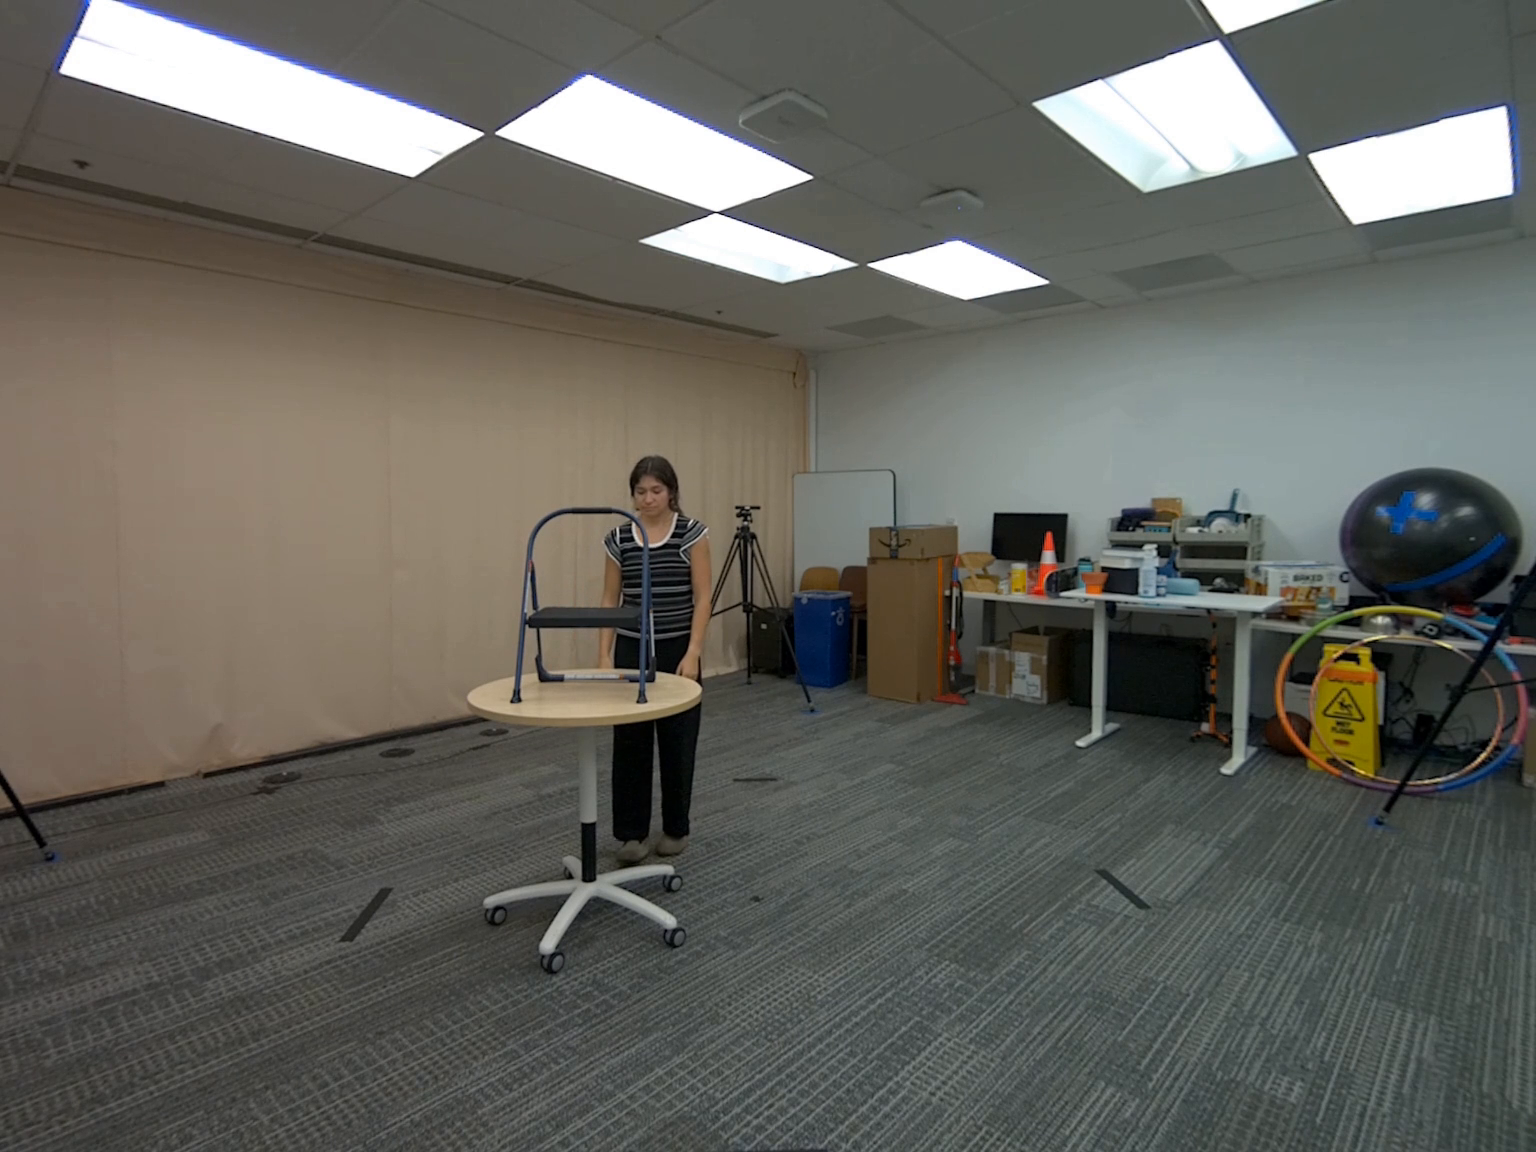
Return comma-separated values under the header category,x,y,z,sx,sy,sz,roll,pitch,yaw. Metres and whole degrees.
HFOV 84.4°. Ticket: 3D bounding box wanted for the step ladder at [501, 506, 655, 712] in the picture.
category,x,y,z,sx,sy,sz,roll,pitch,yaw
step ladder,-0.594,0.089,2.764,0.431,0.605,0.349,3,2,0
